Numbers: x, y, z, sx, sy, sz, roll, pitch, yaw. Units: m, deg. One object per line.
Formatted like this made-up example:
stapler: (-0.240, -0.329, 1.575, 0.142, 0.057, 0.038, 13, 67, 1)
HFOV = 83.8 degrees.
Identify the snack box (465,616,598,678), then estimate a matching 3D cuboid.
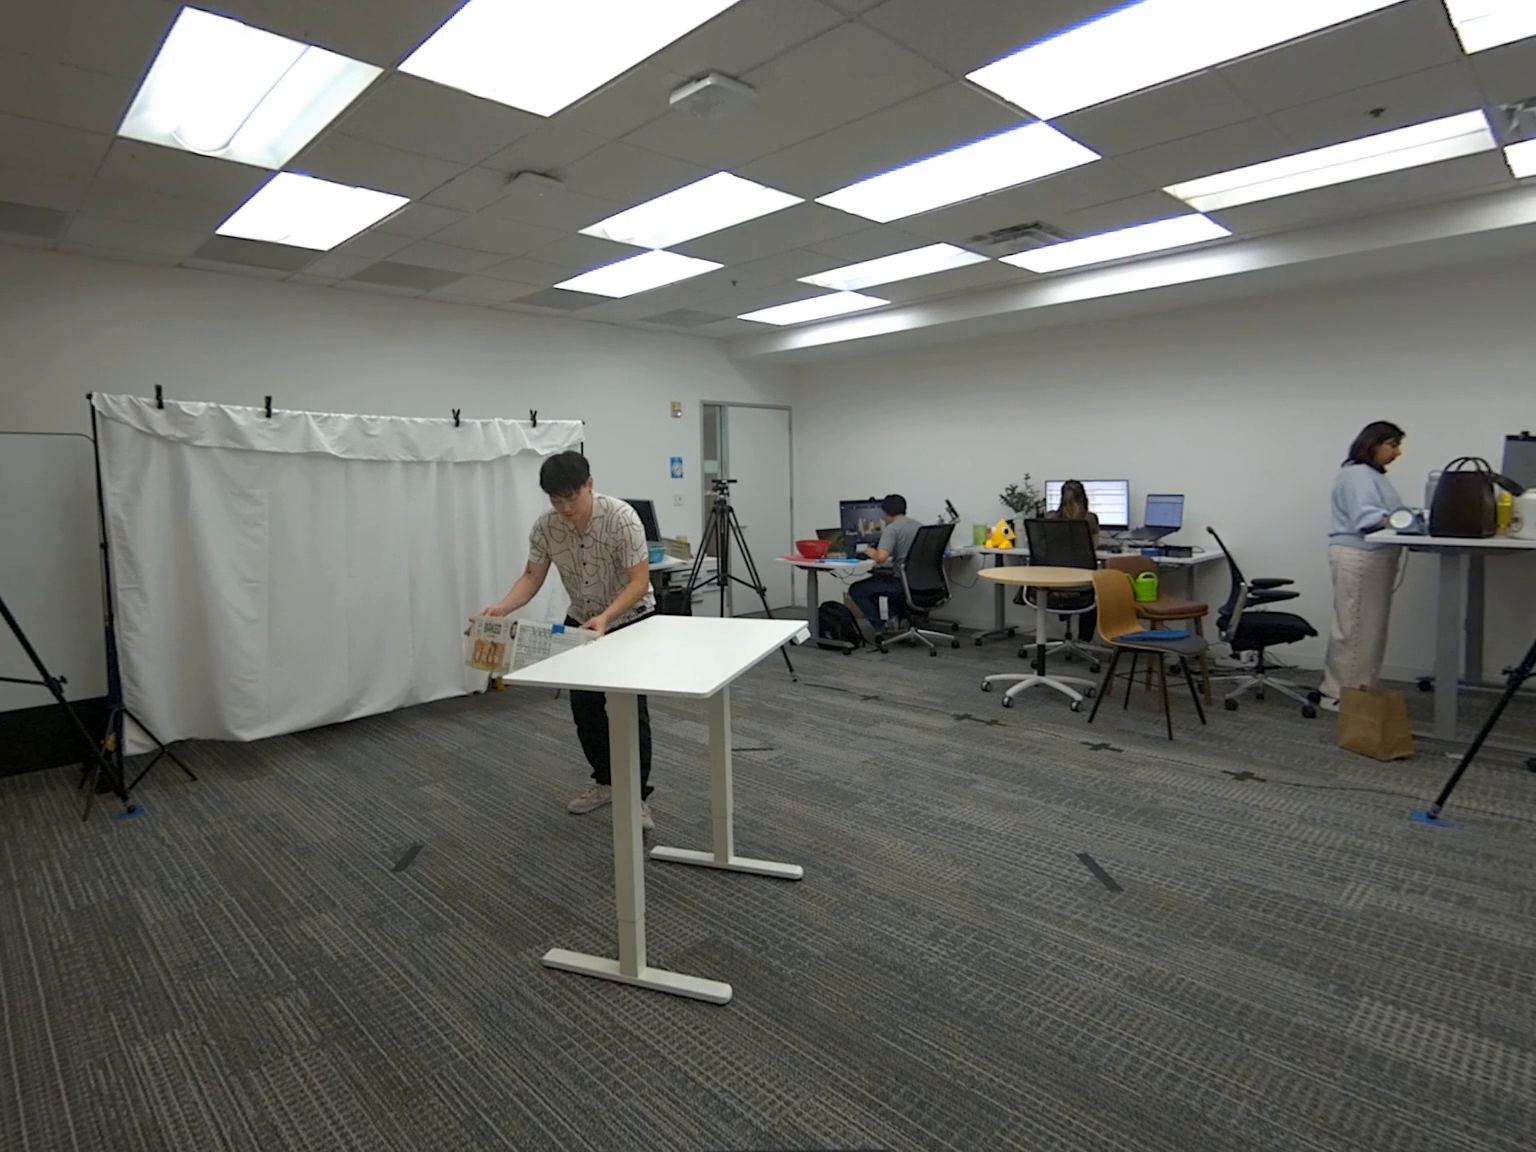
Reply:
snack box: (-0.904, 0.287, 3.253, 0.329, 0.207, 0.416, 14, -9, -39)
